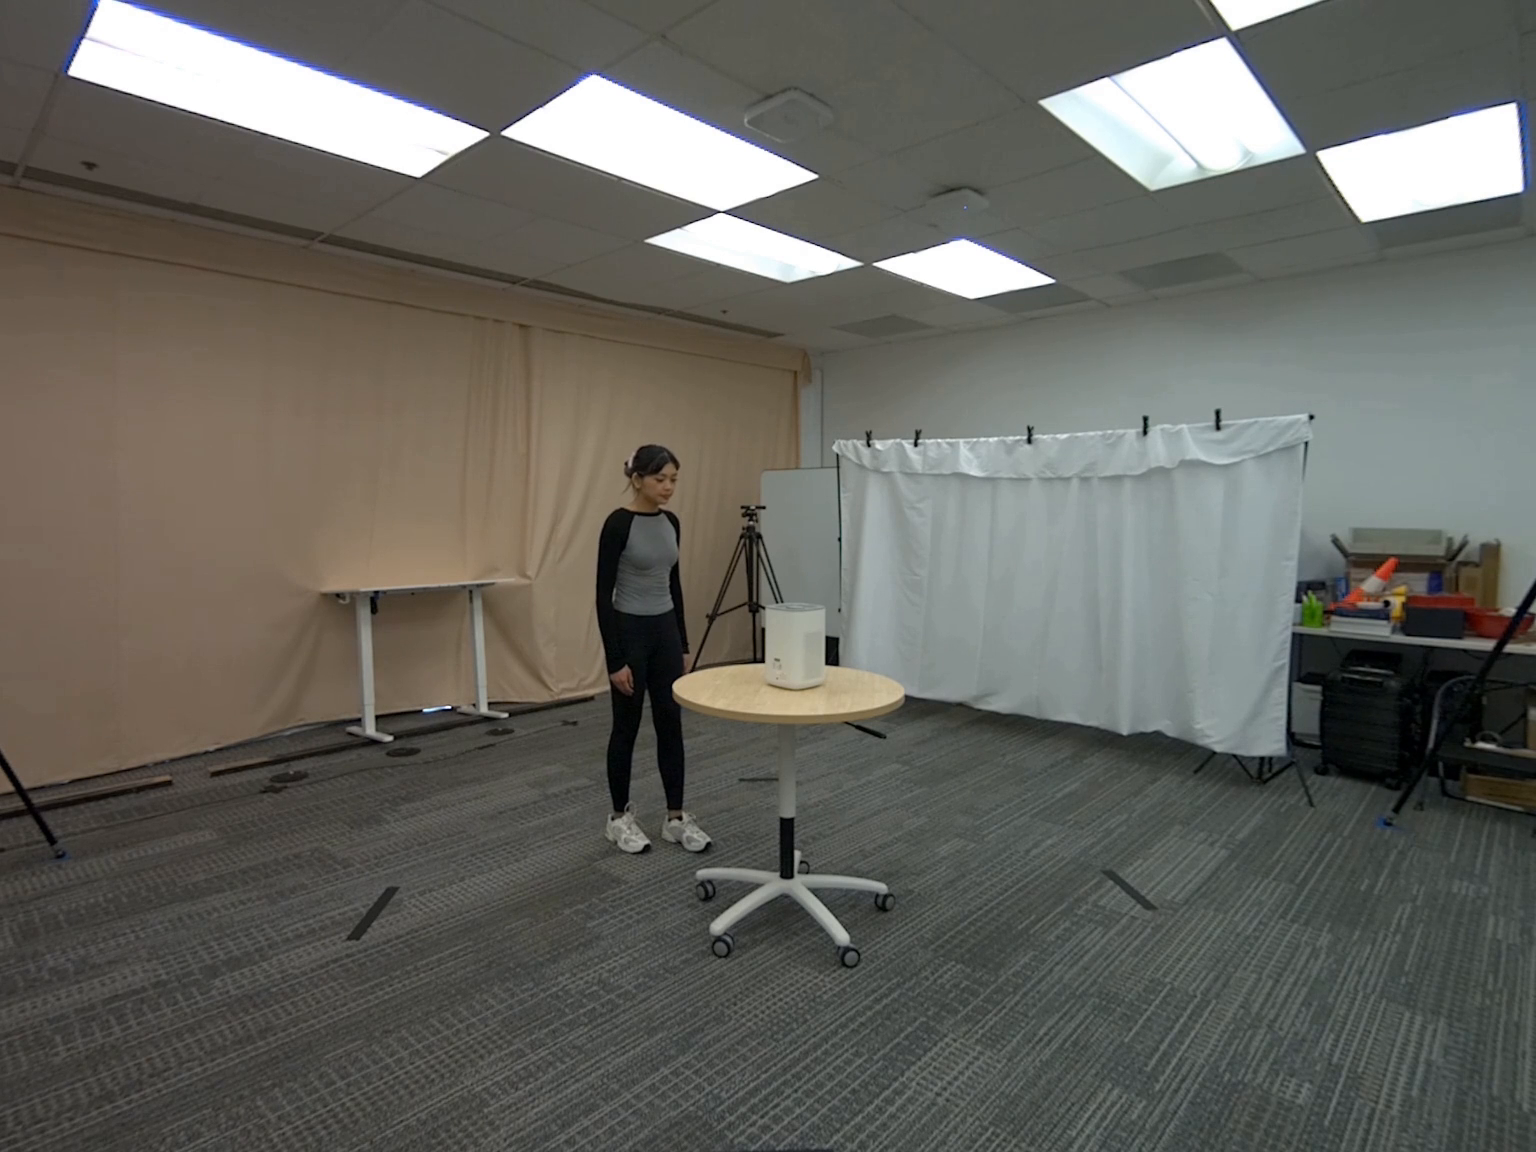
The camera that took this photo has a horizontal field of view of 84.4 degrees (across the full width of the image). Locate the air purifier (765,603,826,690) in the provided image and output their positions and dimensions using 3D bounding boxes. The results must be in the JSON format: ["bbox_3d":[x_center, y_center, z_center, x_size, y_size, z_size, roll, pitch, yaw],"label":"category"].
[{"bbox_3d":[0.091,0.230,2.811,0.177,0.265,0.166,3,5,45],"label":"air purifier"}]
